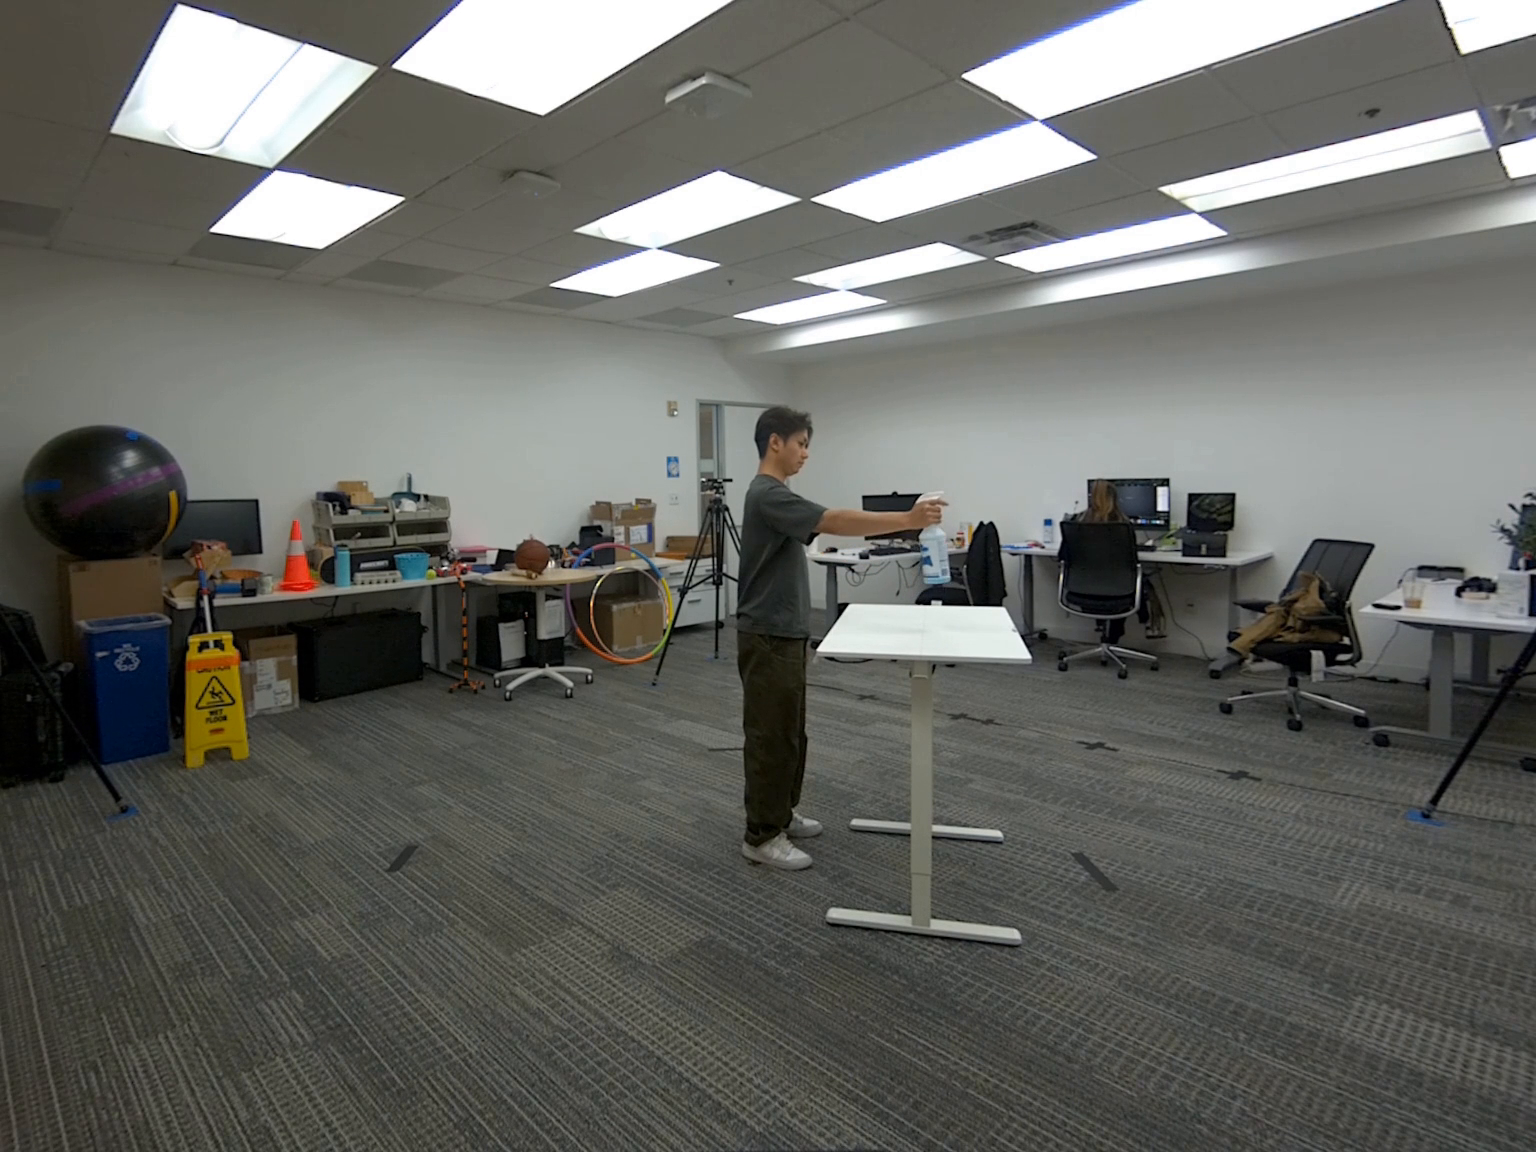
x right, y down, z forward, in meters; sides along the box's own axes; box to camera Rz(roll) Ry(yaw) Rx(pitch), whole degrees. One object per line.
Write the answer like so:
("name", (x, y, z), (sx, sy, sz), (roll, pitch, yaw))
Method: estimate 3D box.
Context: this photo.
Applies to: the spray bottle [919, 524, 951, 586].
("spray bottle", (0.545, -0.121, 2.817), (0.092, 0.296, 0.085), (-4, 3, 35))
